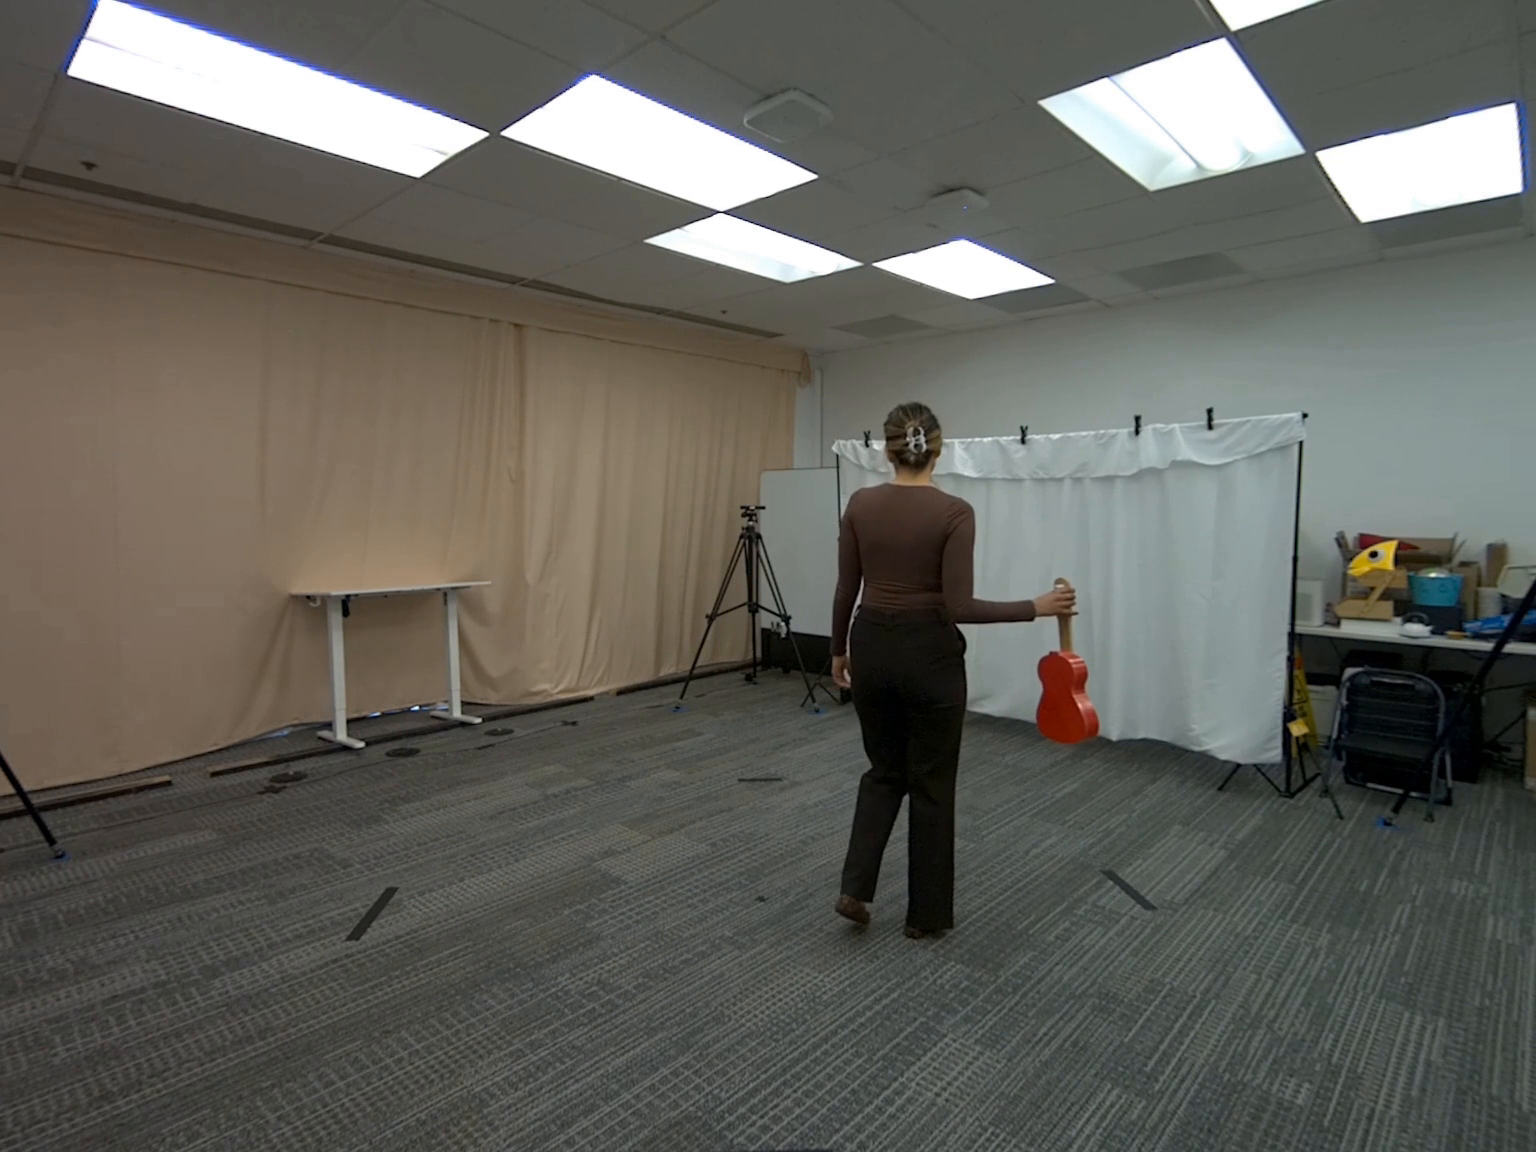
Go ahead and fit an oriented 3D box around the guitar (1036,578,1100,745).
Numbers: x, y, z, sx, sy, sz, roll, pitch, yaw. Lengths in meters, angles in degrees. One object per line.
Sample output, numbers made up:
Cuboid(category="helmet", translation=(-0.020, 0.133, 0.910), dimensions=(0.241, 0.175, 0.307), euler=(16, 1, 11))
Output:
Cuboid(category="guitar", translation=(0.895, 0.262, 2.627), dimensions=(0.069, 0.502, 0.196), euler=(-2, -12, -24))
